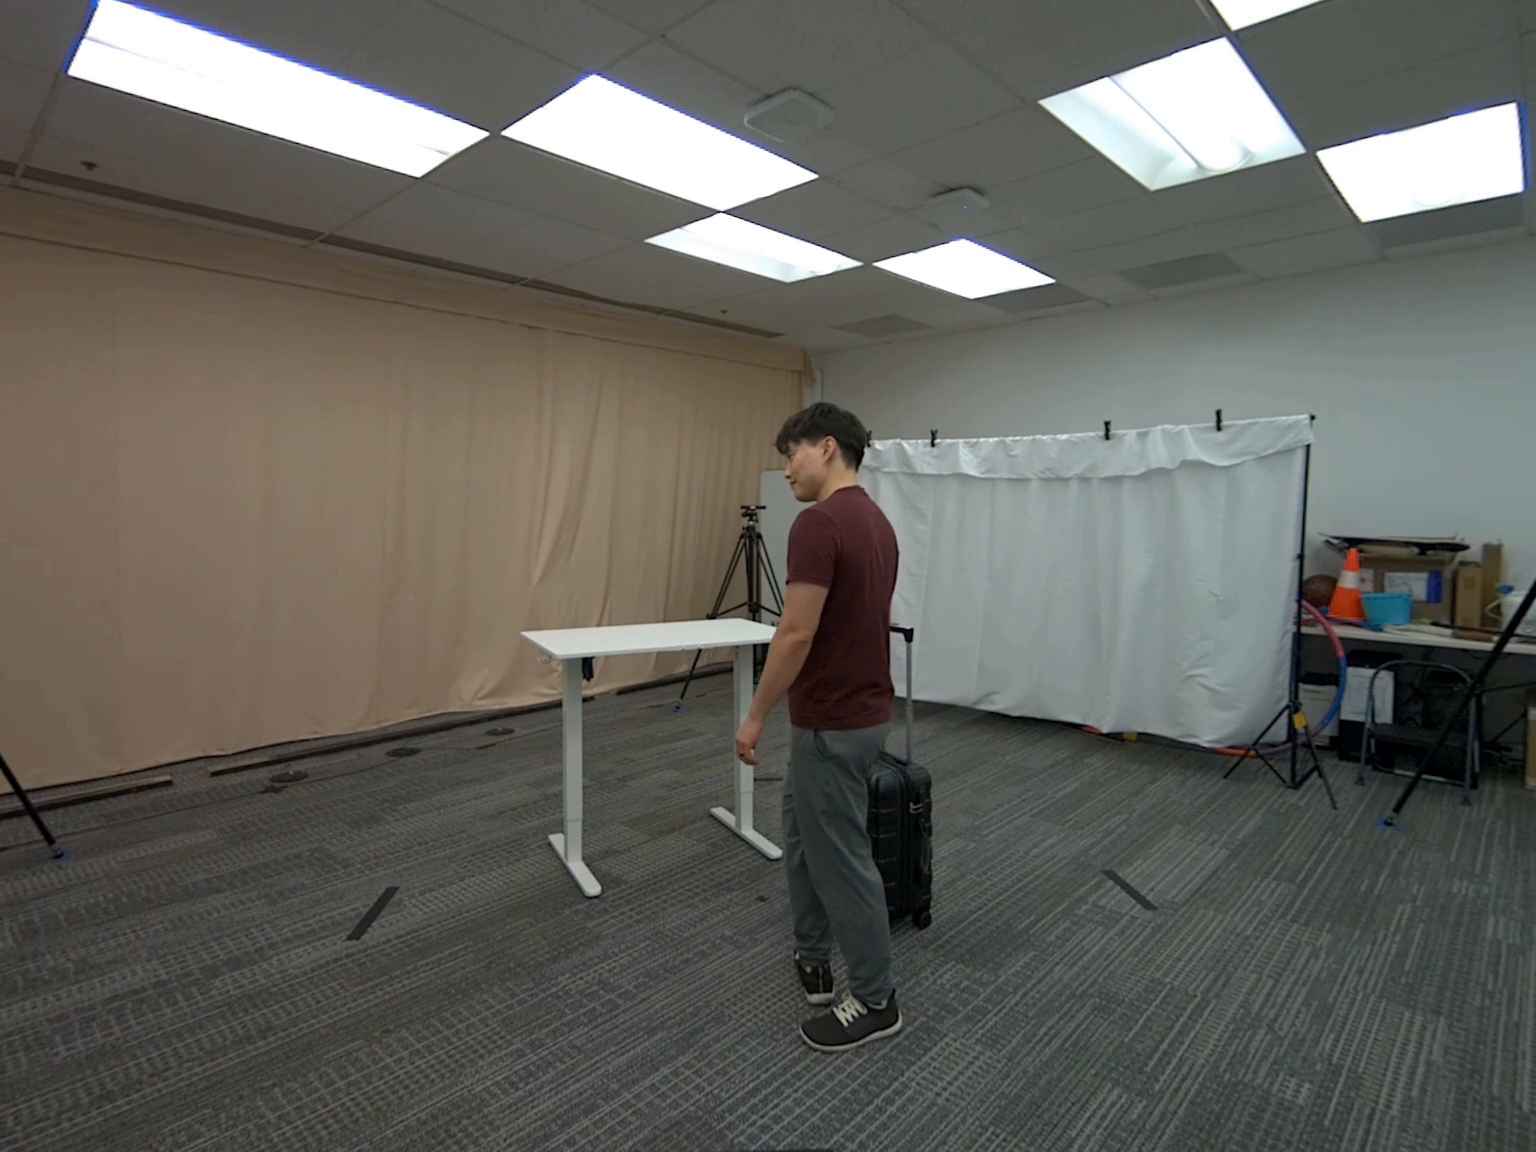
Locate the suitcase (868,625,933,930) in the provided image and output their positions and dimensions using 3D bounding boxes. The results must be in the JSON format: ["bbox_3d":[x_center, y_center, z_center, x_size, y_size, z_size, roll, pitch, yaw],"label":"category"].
[{"bbox_3d":[0.366,0.674,2.844,0.251,0.976,0.394,-3,3,-25],"label":"suitcase"}]
